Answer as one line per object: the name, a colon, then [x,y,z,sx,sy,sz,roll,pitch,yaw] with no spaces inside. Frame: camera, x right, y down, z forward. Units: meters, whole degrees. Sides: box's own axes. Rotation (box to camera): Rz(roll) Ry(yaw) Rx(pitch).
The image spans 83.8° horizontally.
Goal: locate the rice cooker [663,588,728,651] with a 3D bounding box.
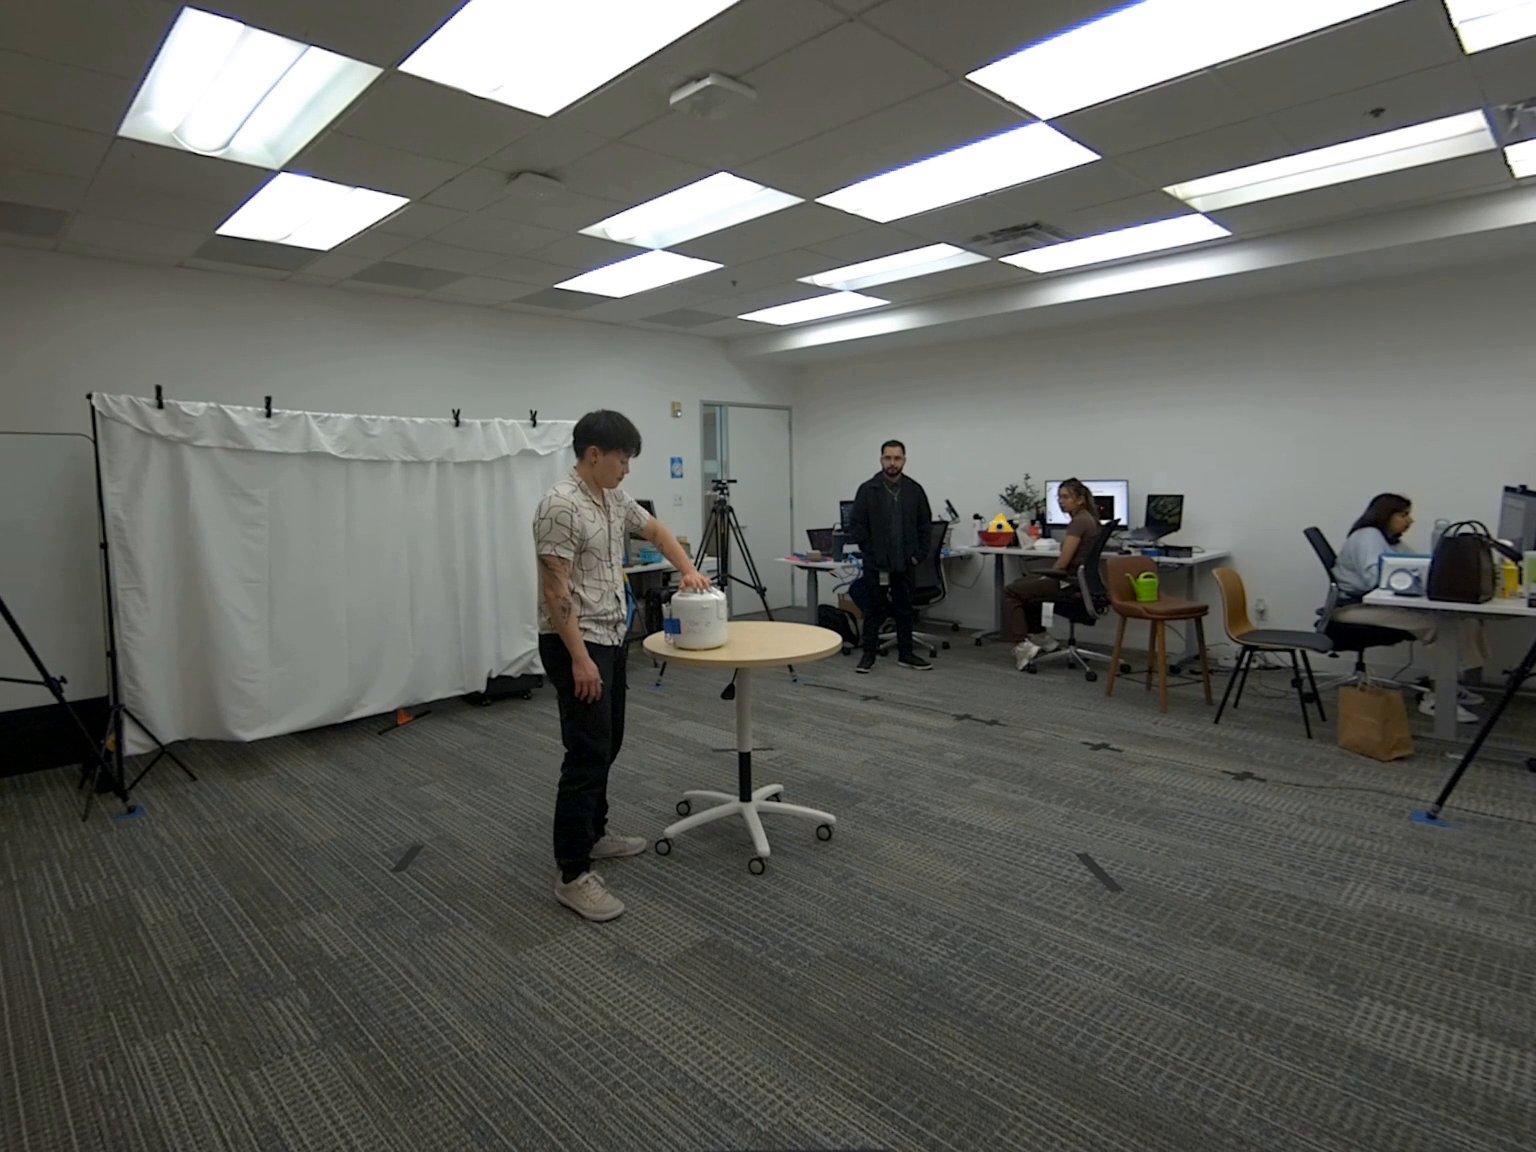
rice cooker: [-0.256,0.145,3.185,0.227,0.231,0.212,3,8,35]
